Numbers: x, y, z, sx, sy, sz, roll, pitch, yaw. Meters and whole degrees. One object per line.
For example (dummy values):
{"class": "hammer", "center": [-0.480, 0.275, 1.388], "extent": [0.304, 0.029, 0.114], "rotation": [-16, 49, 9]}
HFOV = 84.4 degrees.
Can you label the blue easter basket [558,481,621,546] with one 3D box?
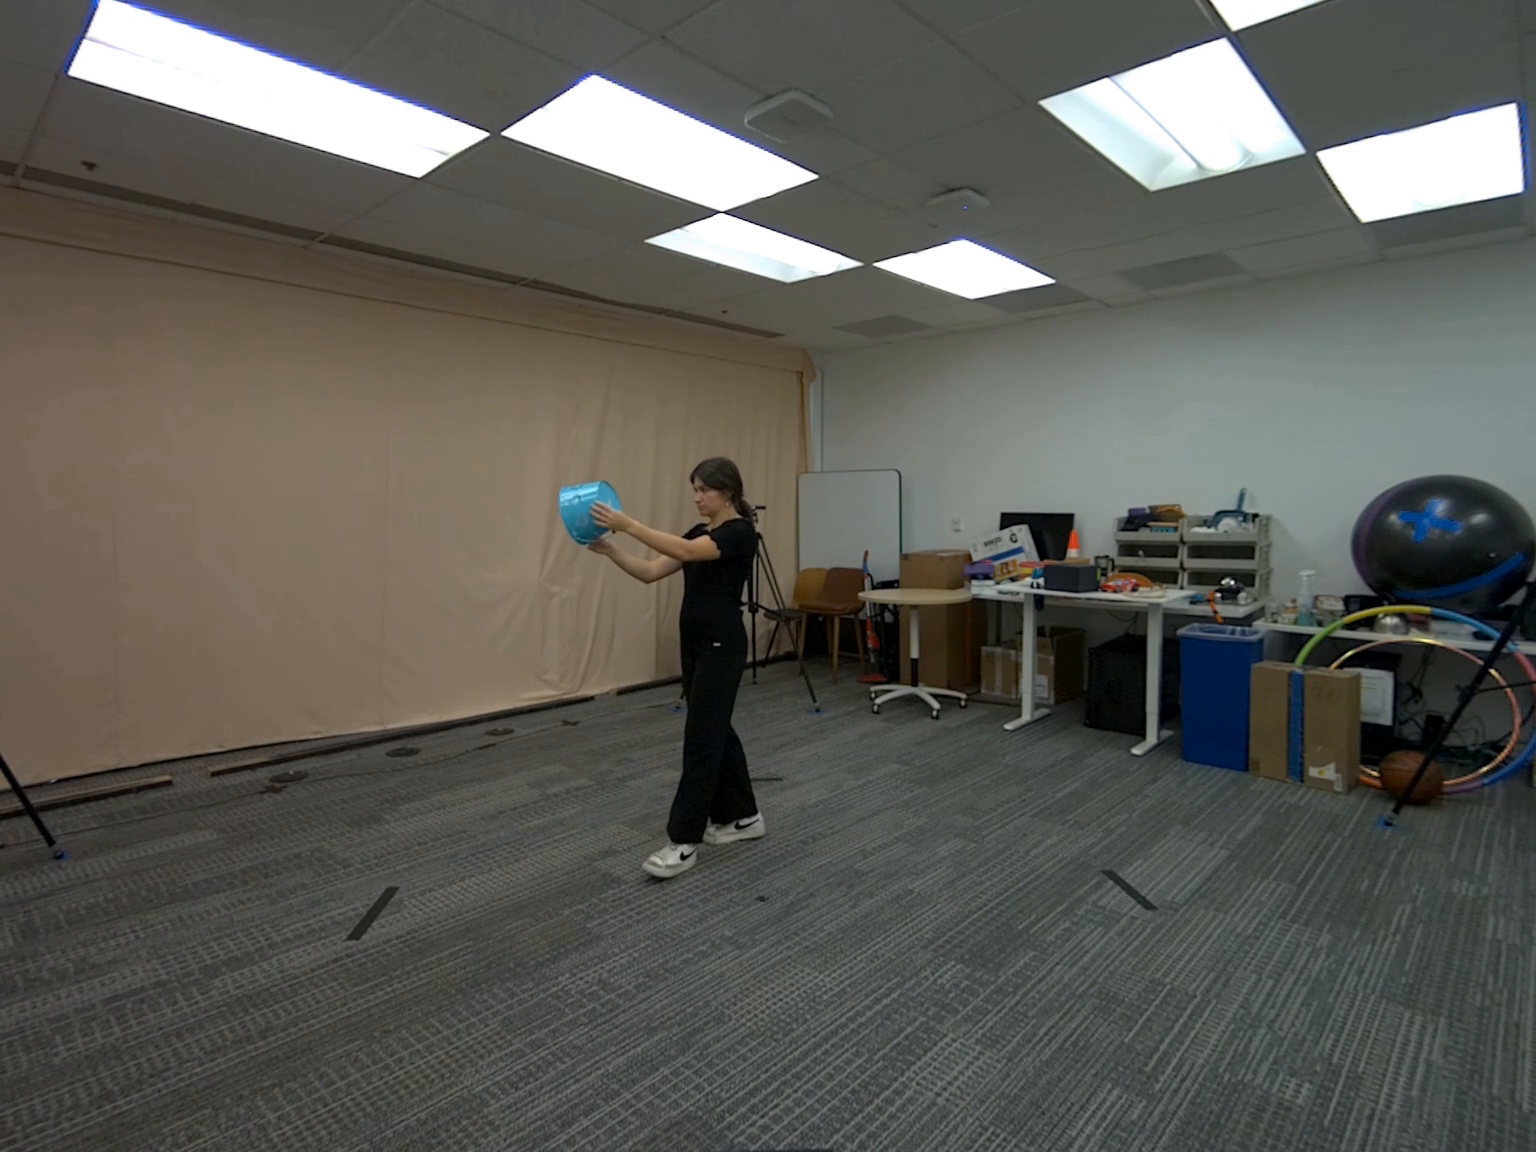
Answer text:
{"class": "blue easter basket", "center": [-0.655, -0.244, 3.152], "extent": [0.157, 0.244, 0.240], "rotation": [-19, -1, 13]}
